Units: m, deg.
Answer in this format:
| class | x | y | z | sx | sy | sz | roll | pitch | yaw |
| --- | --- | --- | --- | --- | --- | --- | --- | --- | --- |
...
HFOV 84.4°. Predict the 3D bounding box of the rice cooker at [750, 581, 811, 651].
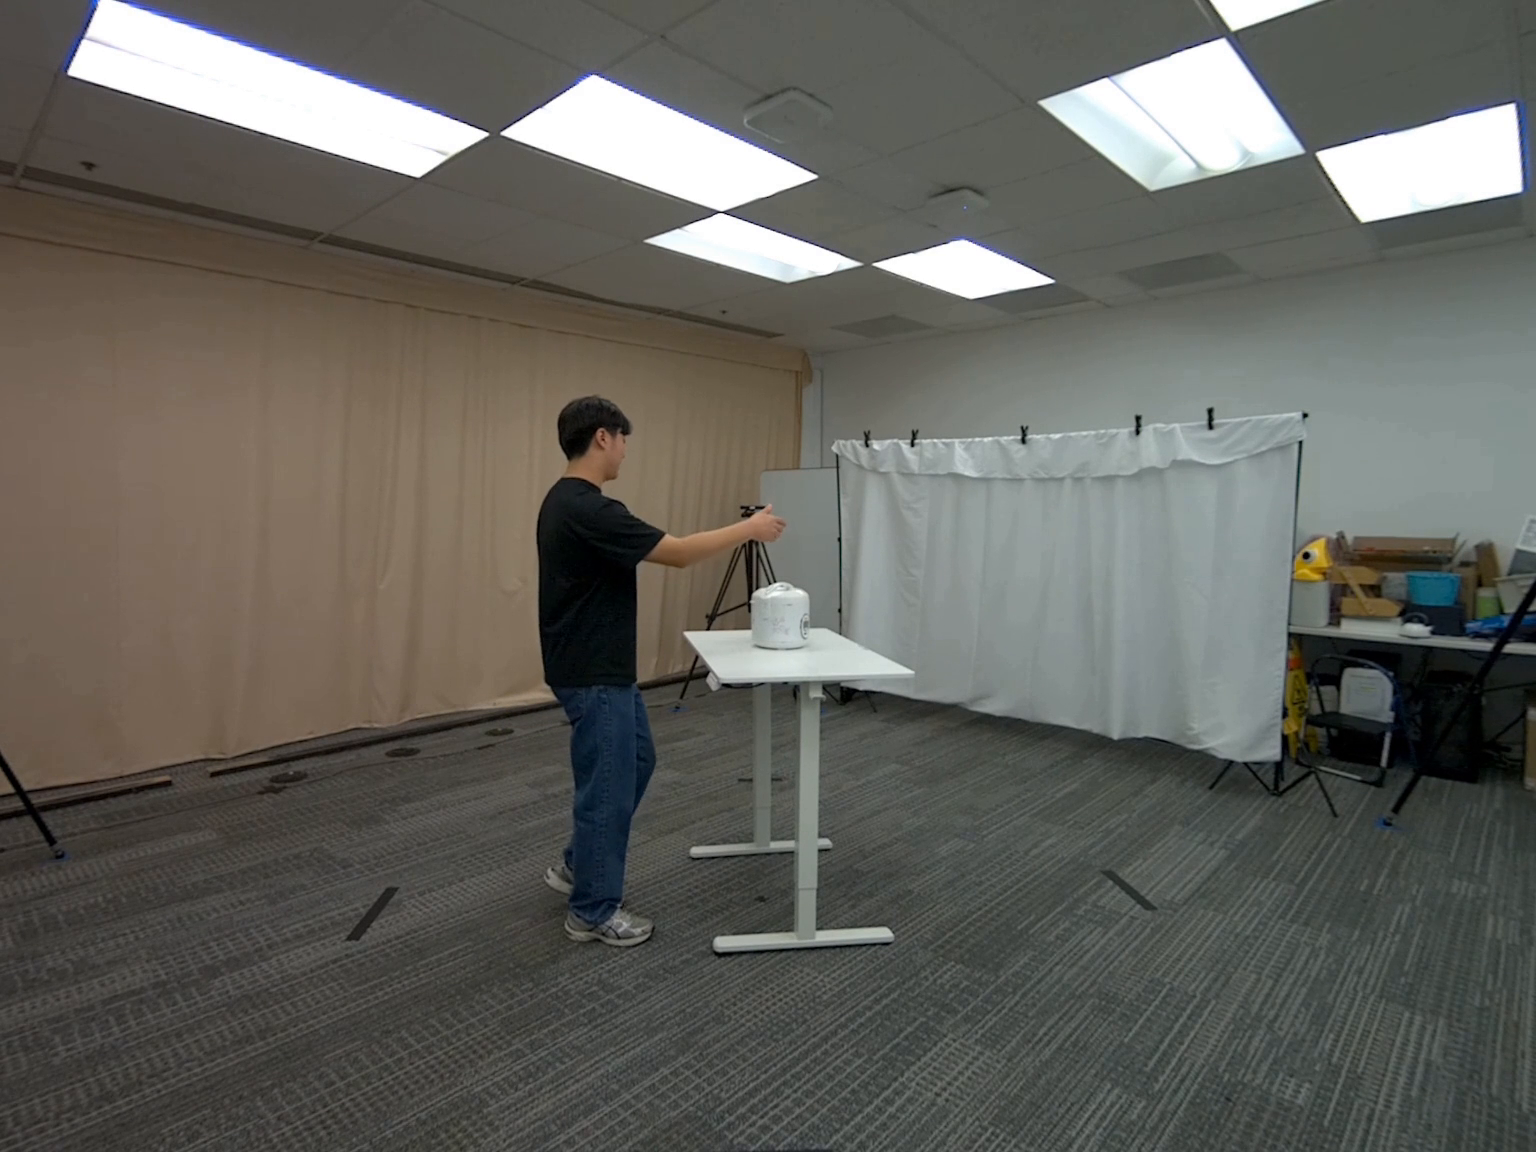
| class | x | y | z | sx | sy | sz | roll | pitch | yaw |
| --- | --- | --- | --- | --- | --- | --- | --- | --- | --- |
| rice cooker | 0.053 | 0.140 | 3.056 | 0.224 | 0.232 | 0.214 | 0 | 3 | 33 |
